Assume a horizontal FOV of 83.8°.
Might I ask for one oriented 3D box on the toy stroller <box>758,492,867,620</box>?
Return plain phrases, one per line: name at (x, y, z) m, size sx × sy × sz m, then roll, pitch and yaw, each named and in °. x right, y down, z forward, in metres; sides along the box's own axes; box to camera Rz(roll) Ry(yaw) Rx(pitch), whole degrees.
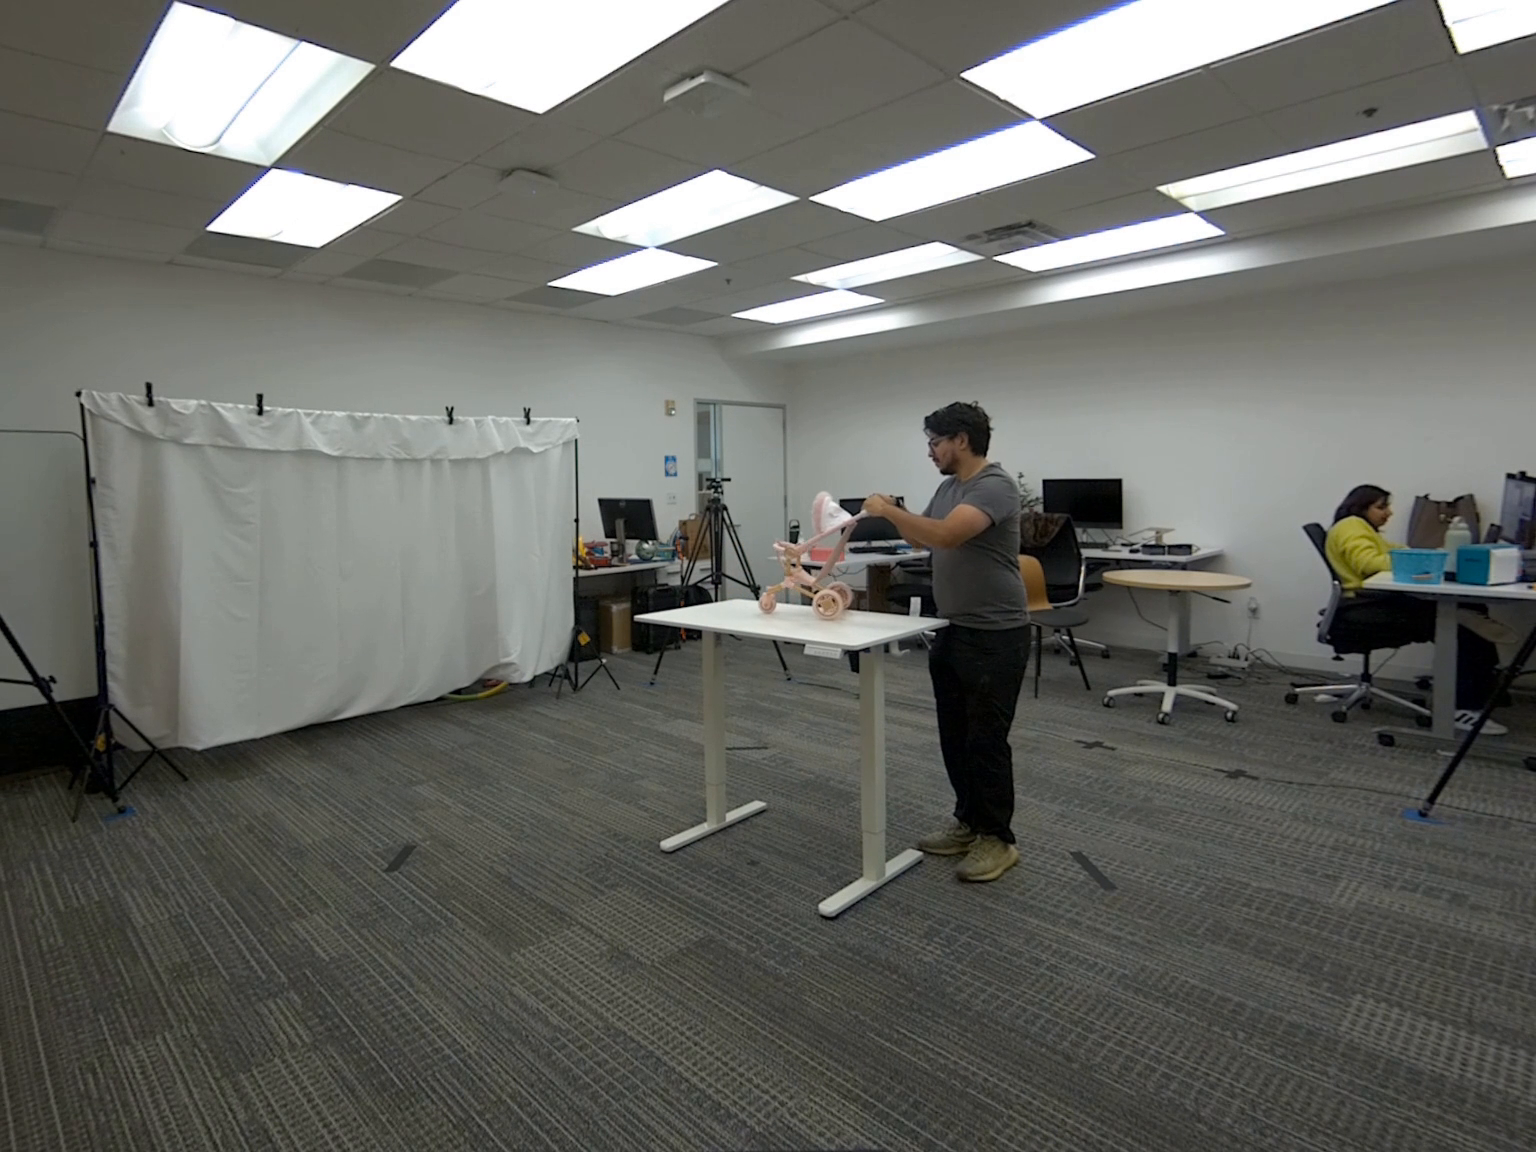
toy stroller at (0.186, -0.076, 3.183) m, size 0.349 × 0.532 × 0.277 m, roll 18°, pitch 9°, yaw 18°
